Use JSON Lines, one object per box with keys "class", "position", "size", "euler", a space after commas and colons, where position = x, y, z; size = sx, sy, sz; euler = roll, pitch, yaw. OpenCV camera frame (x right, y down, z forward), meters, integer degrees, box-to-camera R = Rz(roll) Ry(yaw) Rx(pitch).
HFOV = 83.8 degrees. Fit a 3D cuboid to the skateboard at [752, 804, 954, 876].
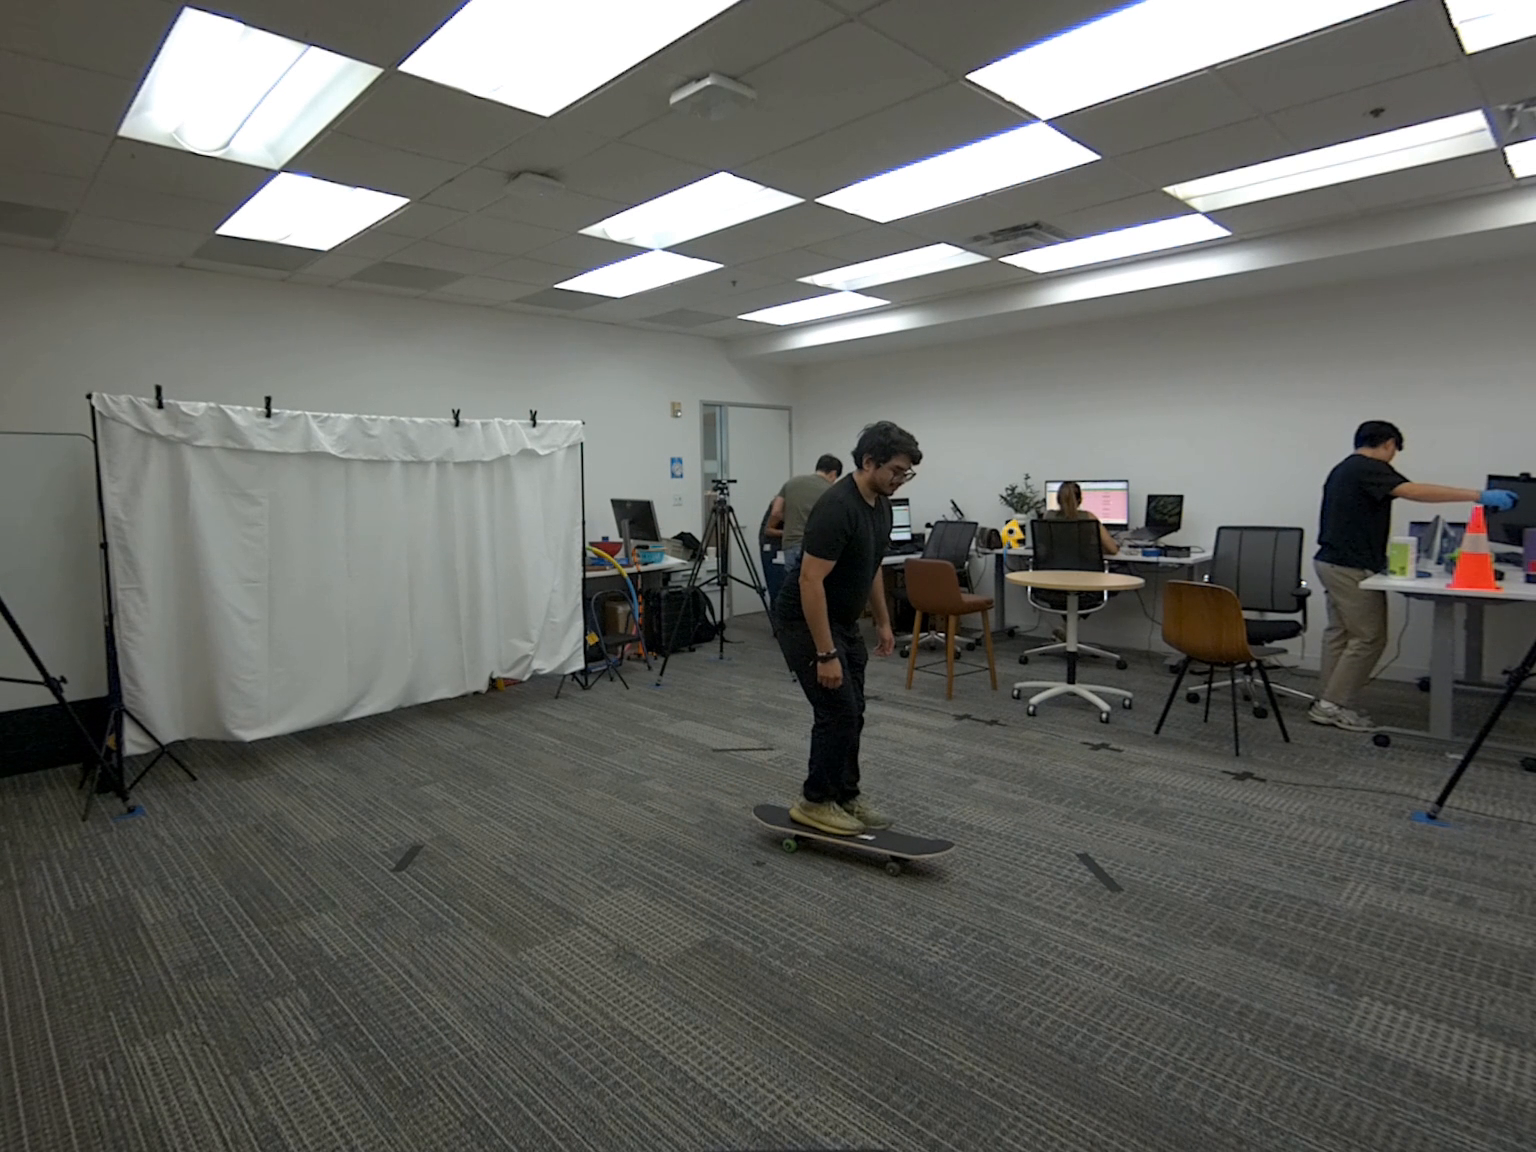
{"class": "skateboard", "position": [0.298, 0.982, 3.171], "size": [0.806, 0.110, 0.189], "euler": [3, 3, 30]}
